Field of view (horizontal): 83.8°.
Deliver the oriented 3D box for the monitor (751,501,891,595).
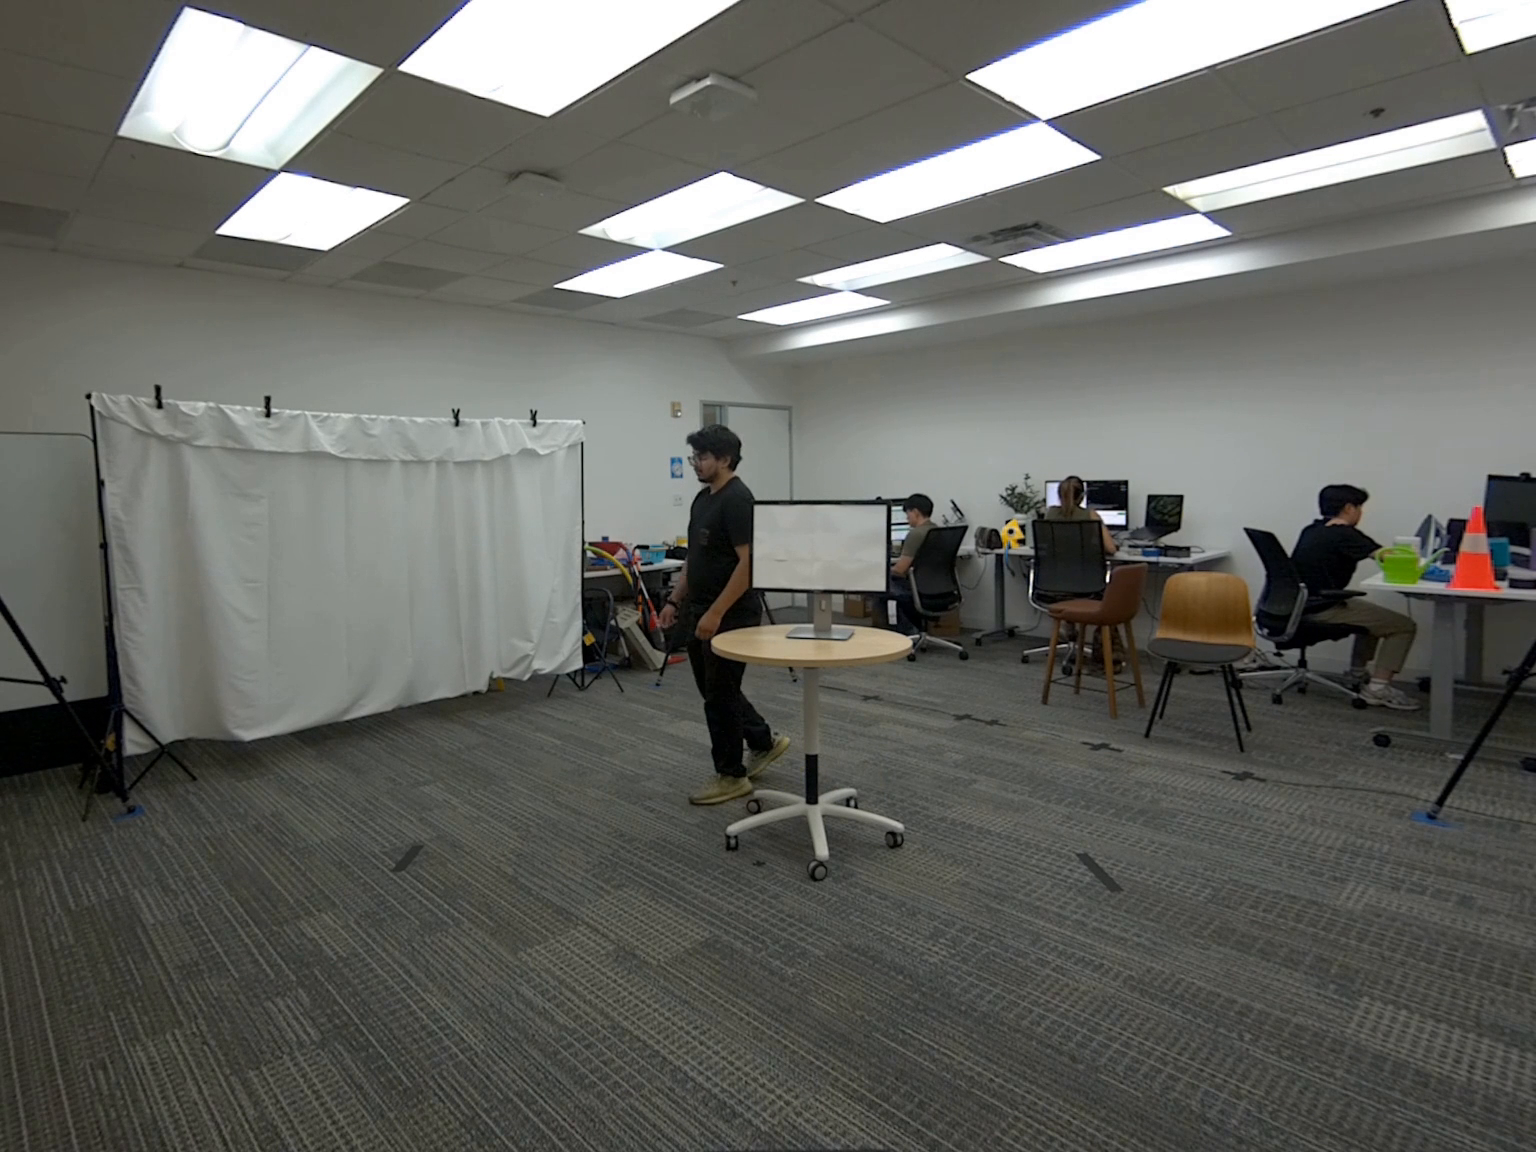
[{"bbox_3d":[0.218,-0.029,3.393,0.575,0.554,0.206,1,0,17],"label":"monitor"}]
